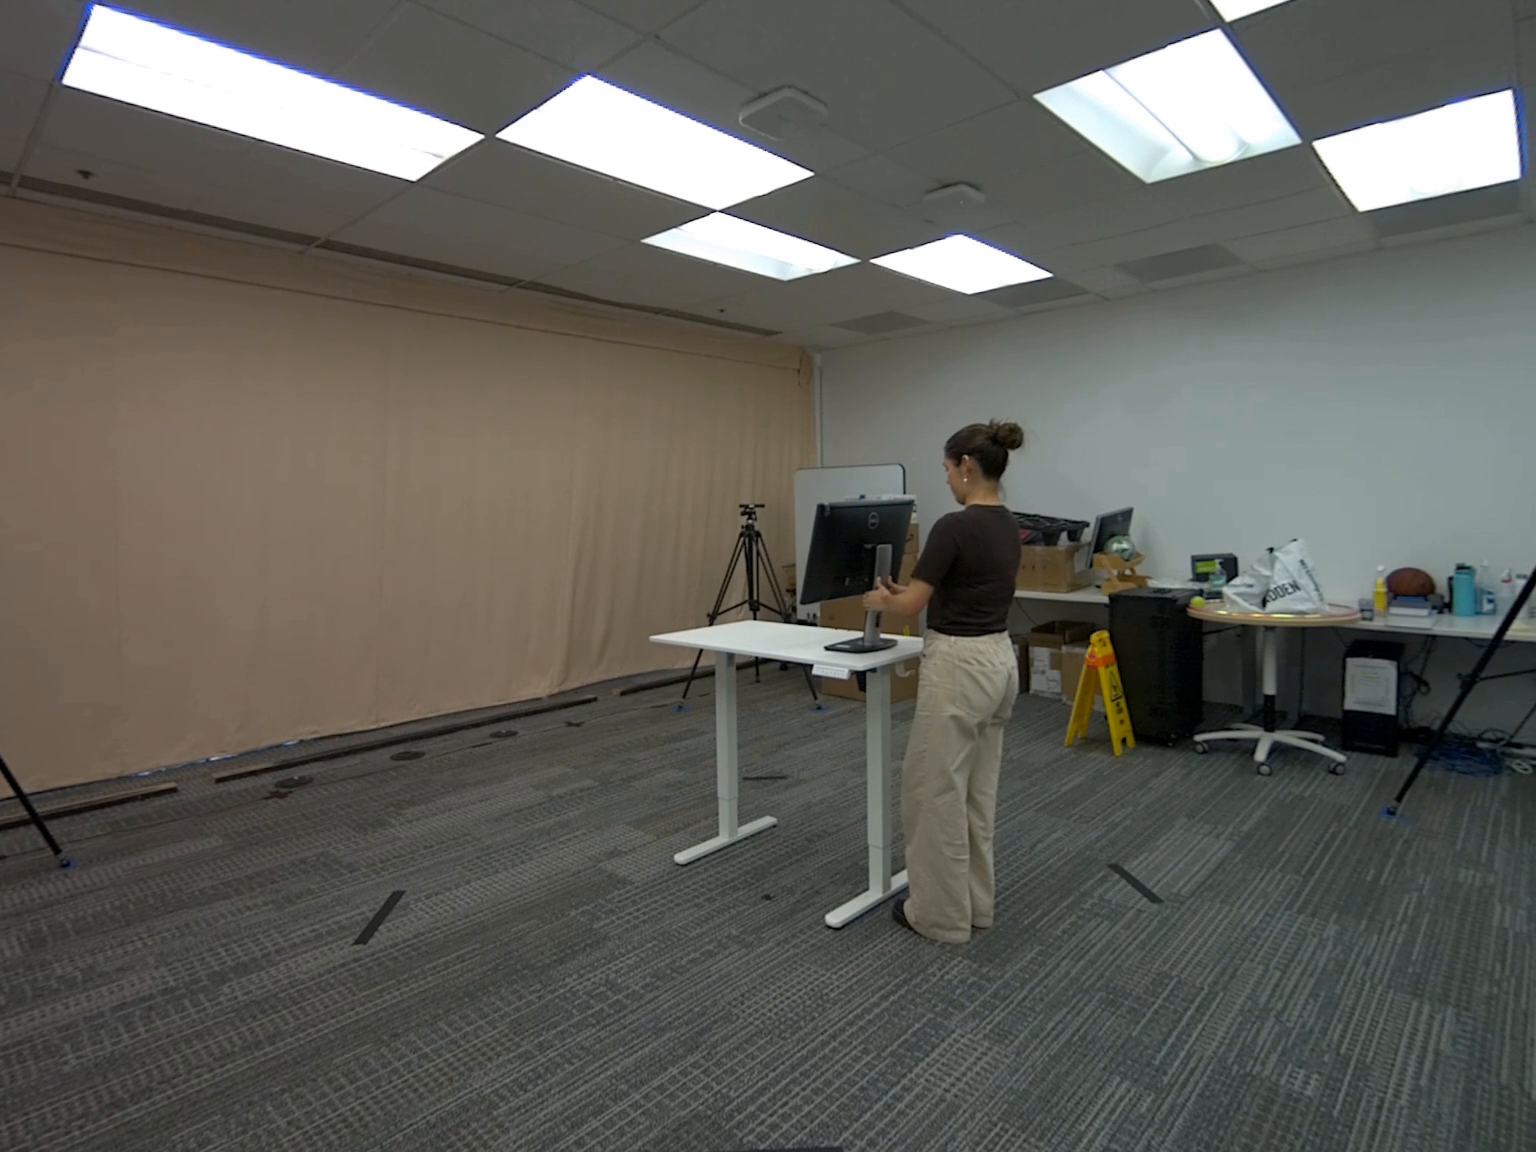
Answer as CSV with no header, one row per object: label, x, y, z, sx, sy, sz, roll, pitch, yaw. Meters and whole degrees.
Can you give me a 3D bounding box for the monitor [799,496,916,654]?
monitor,0.349,0.000,2.949,0.193,0.521,0.523,4,7,43
